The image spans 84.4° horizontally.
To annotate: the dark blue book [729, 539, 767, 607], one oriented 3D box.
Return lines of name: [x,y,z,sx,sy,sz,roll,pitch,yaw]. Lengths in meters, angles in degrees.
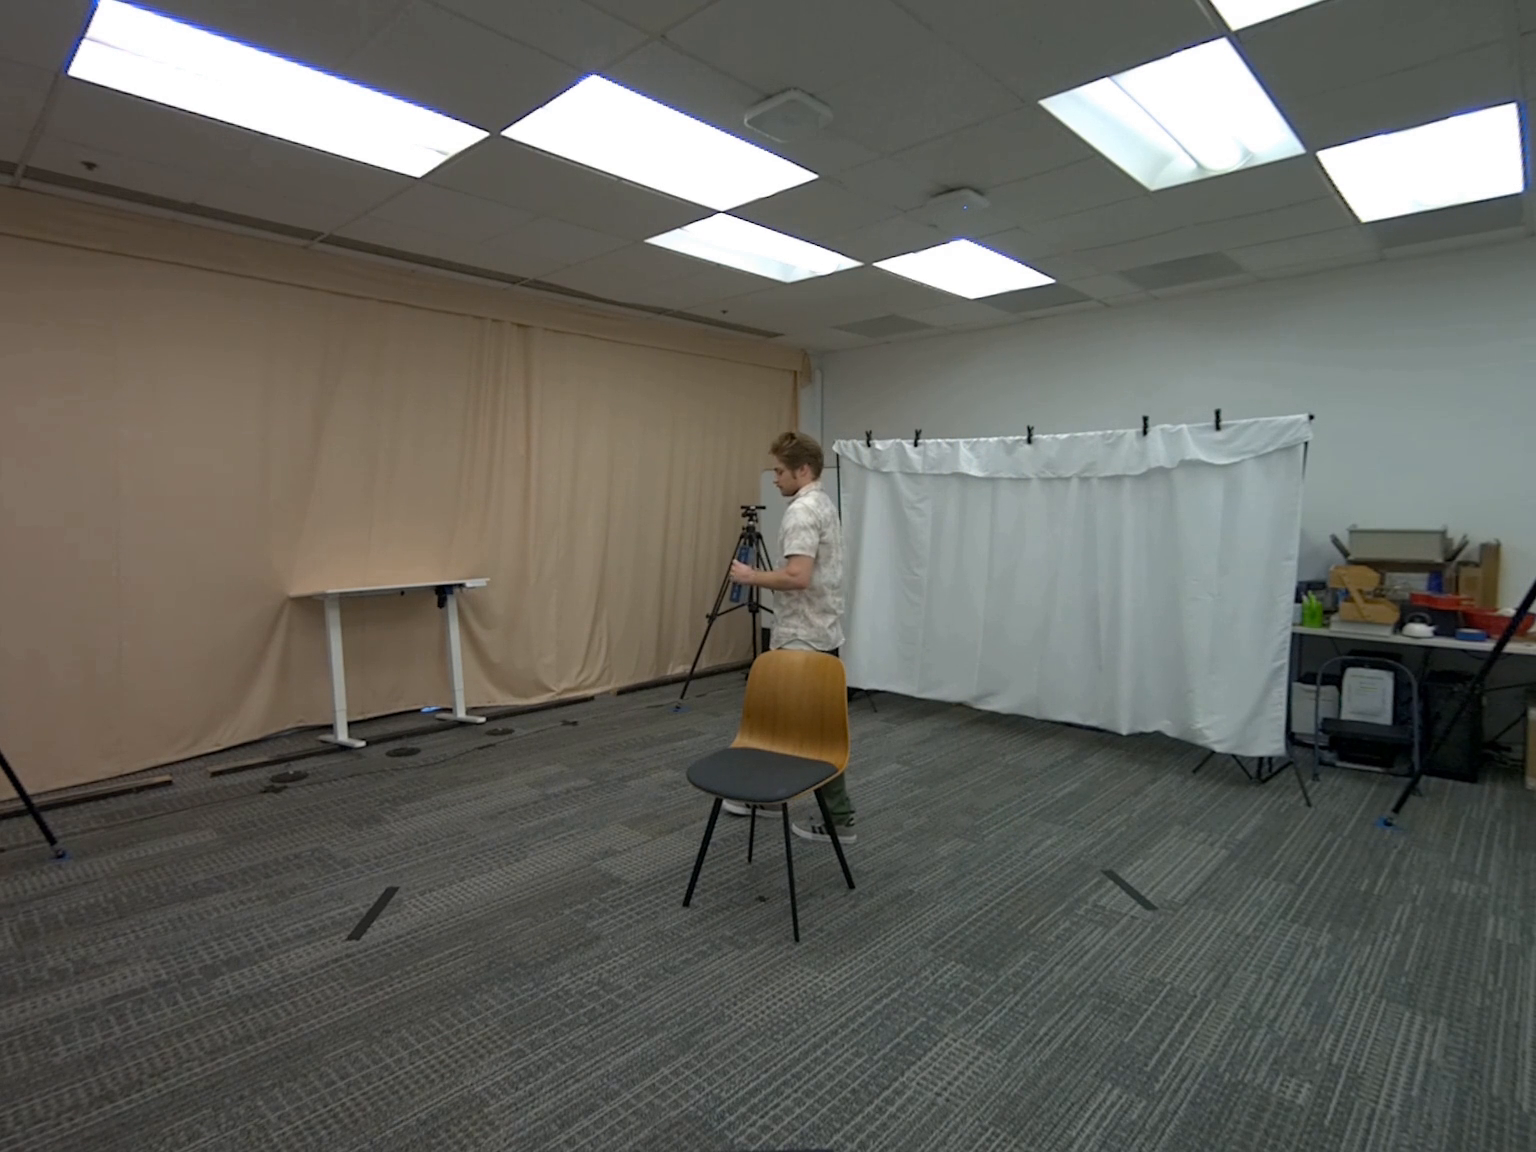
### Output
dark blue book: [-0.098,-0.008,3.667,0.046,0.245,0.161,9,-1,11]
